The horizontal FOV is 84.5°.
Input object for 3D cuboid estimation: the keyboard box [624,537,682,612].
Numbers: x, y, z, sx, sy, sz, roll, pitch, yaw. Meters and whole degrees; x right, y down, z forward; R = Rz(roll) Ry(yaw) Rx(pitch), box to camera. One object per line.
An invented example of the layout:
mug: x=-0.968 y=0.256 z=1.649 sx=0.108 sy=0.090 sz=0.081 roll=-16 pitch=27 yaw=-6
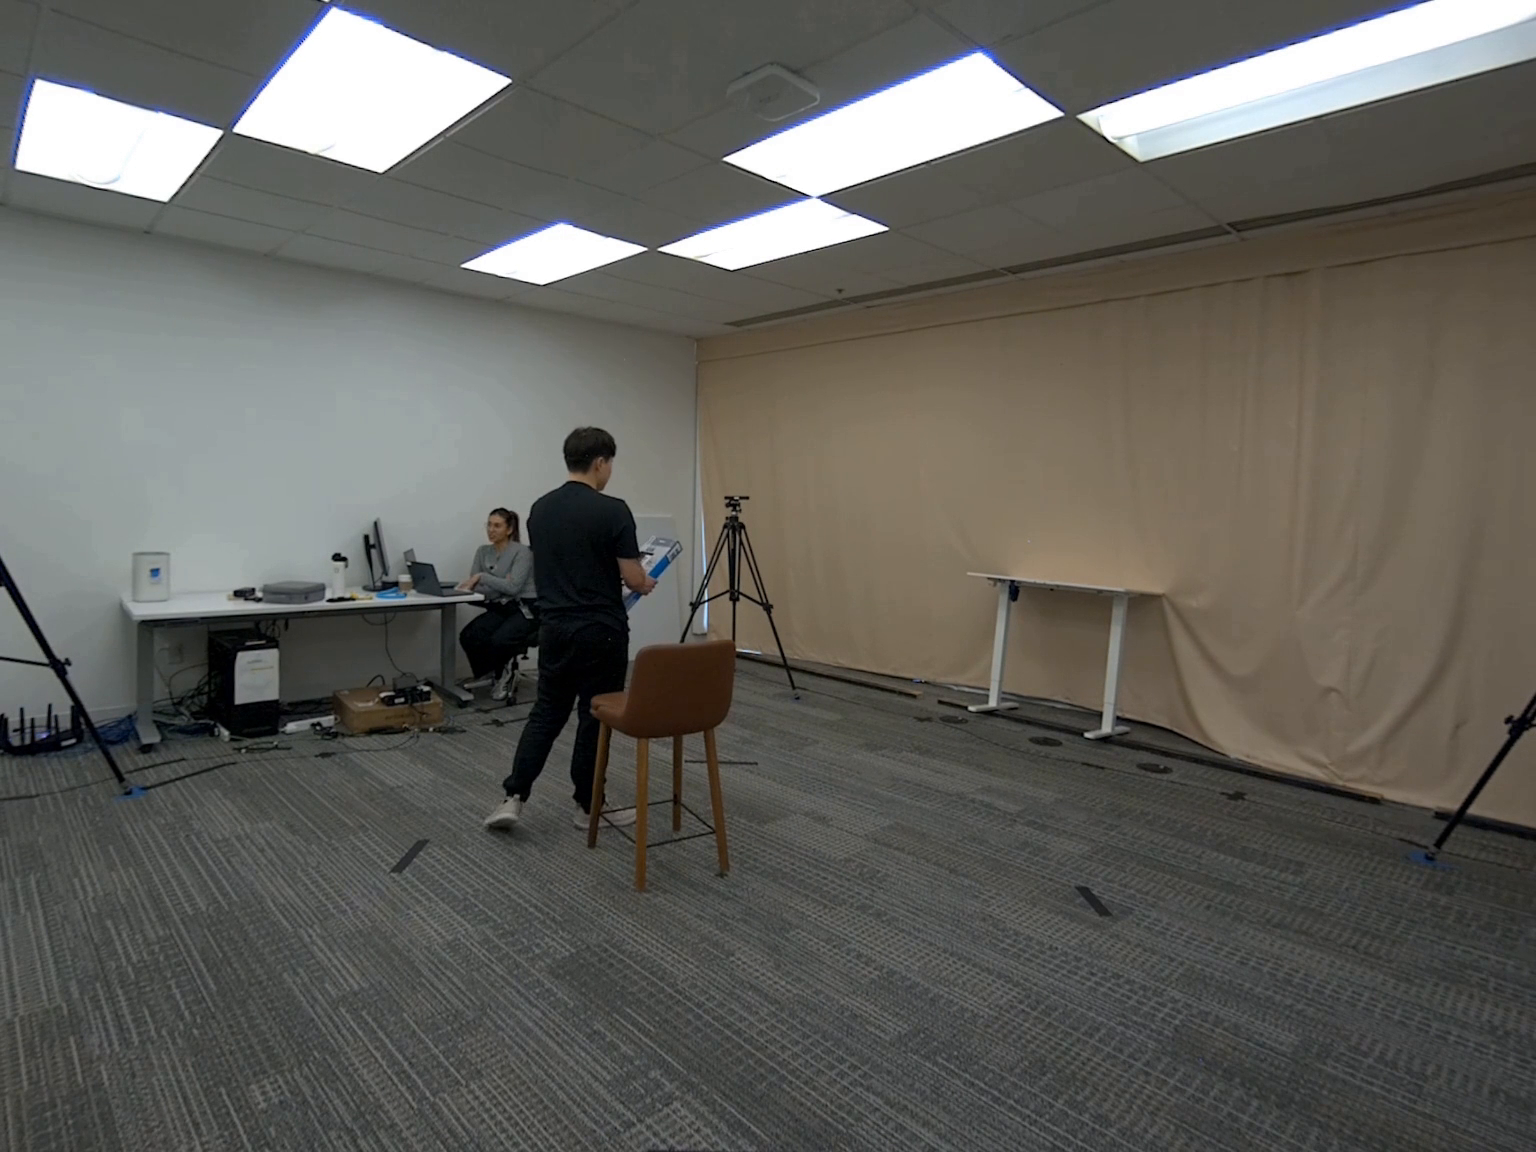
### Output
keyboard box: x=-0.591 y=-0.005 z=3.777 sx=0.180 sy=0.057 sz=0.437 roll=9 pitch=47 yaw=37
